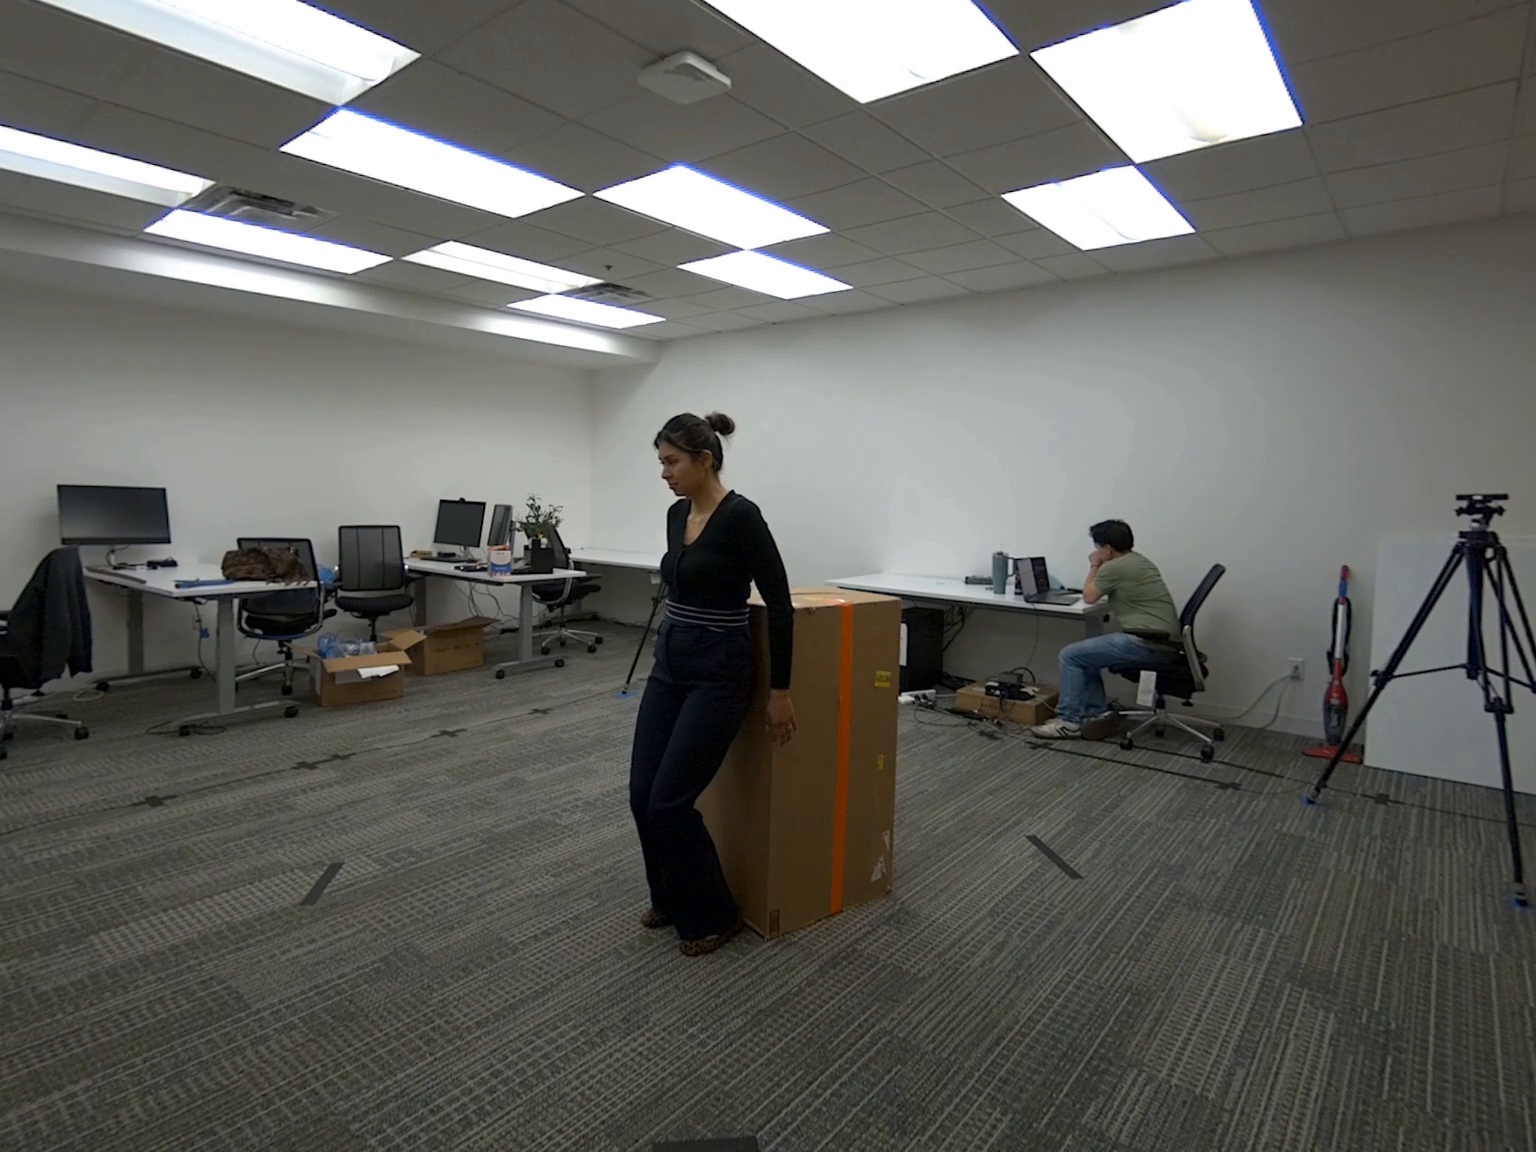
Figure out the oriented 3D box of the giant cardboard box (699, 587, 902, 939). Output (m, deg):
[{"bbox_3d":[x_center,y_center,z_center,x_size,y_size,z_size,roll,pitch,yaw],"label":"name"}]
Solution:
[{"bbox_3d":[0.091,0.578,2.932,0.560,1.023,0.440,-1,3,-39],"label":"giant cardboard box"}]
